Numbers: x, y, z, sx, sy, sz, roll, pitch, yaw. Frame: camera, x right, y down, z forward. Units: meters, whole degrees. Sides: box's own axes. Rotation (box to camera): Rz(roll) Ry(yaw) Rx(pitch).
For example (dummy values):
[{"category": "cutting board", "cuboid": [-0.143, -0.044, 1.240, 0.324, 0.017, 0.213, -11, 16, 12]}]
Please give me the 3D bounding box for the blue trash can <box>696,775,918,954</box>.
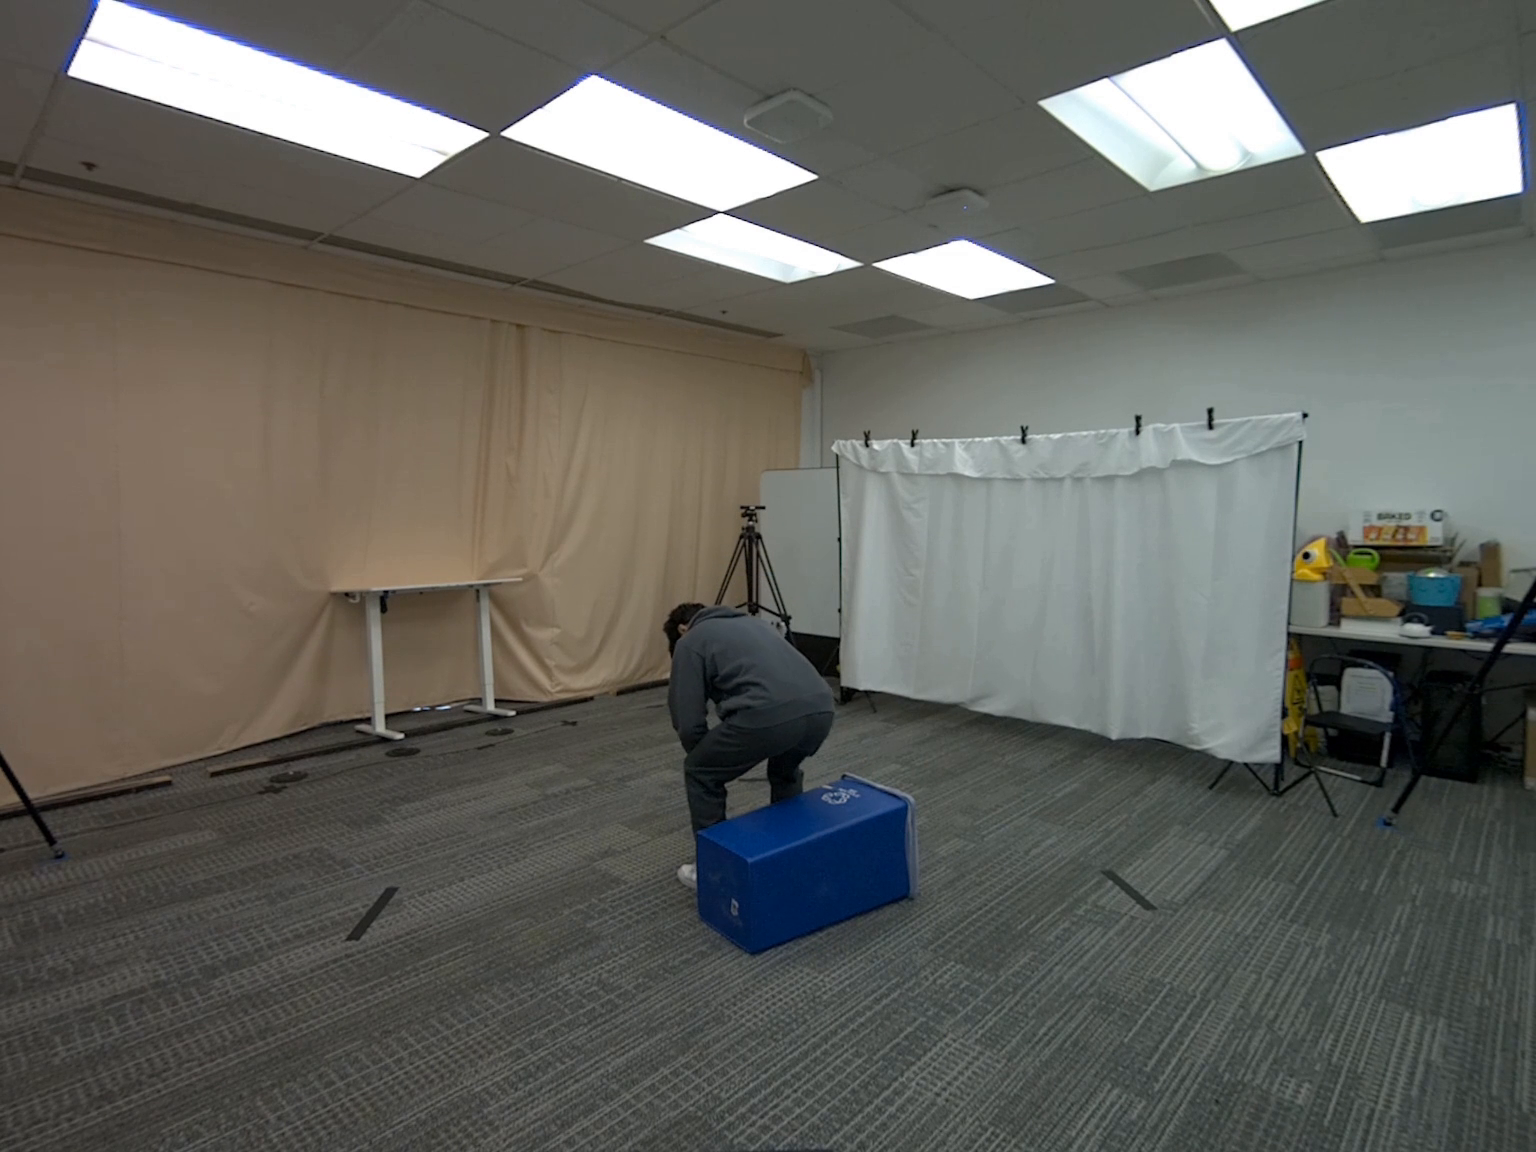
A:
[{"category": "blue trash can", "cuboid": [0.144, 0.982, 2.900, 0.693, 0.376, 0.386, -7, 7, -36]}]
